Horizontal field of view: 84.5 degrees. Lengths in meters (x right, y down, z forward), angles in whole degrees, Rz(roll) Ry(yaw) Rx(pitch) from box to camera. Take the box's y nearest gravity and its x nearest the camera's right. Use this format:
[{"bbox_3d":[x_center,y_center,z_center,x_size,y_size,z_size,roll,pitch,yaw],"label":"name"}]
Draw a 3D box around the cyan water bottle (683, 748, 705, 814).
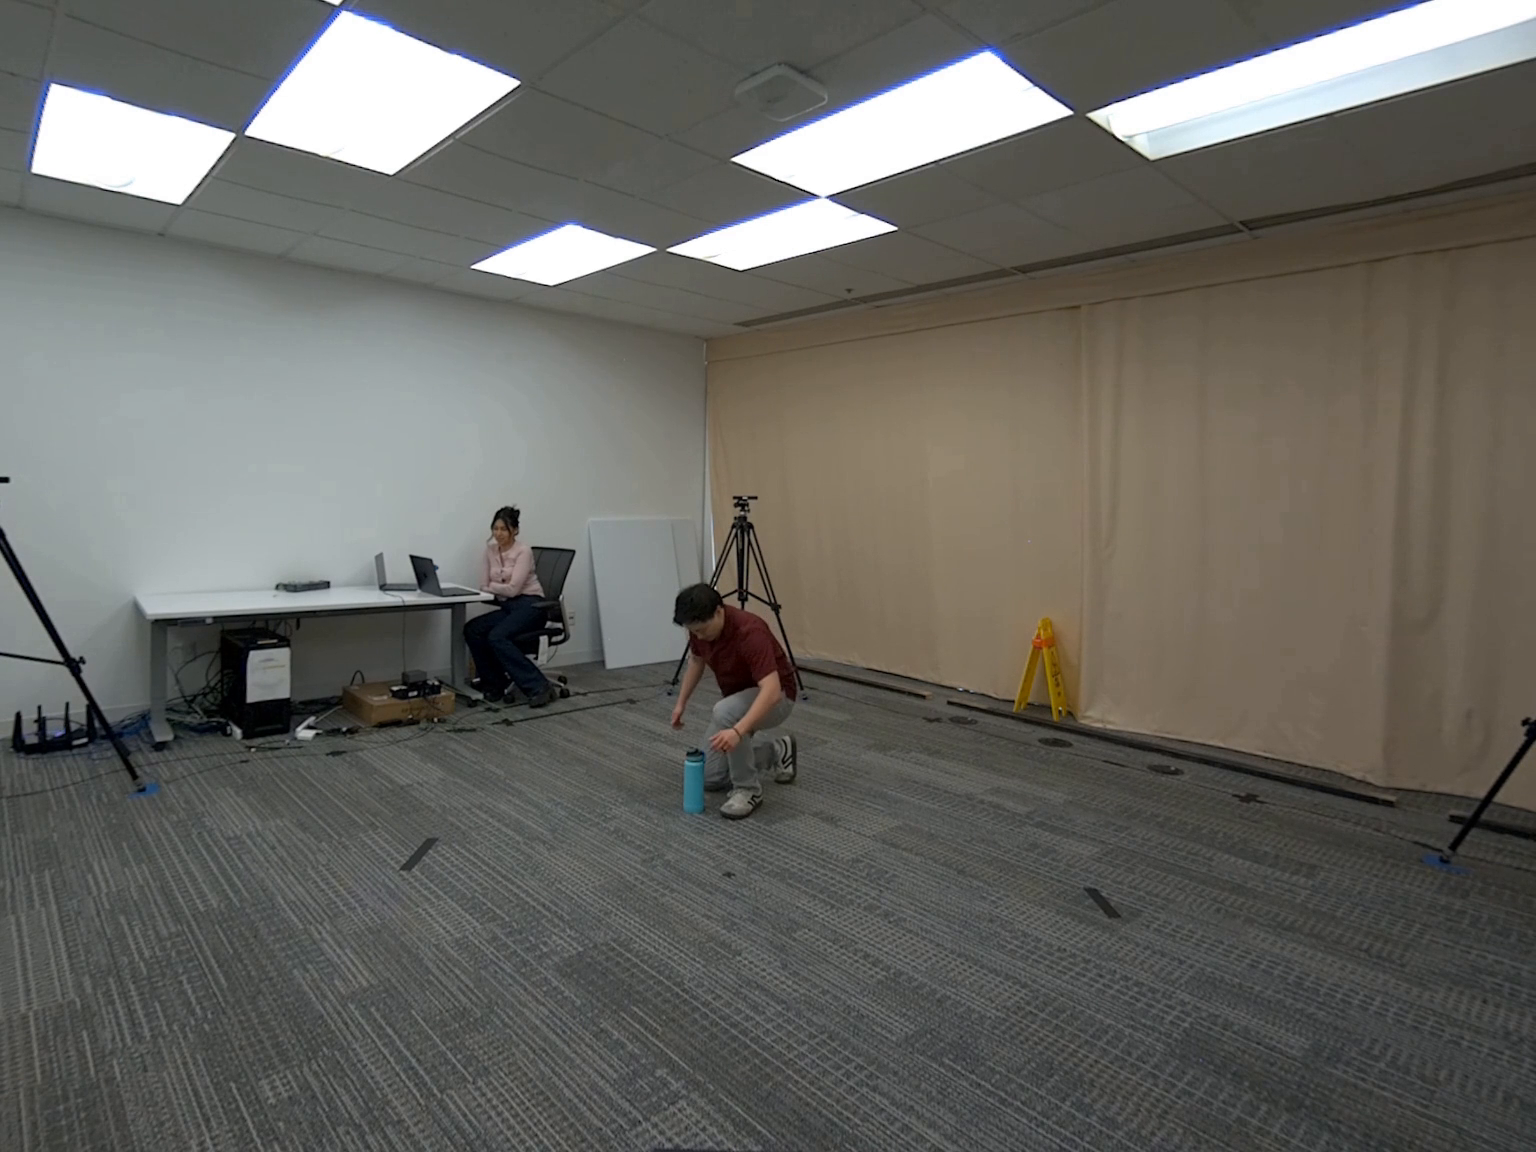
[{"bbox_3d":[-0.337,0.901,3.742,0.092,0.283,0.092,3,3,-2],"label":"cyan water bottle"}]
